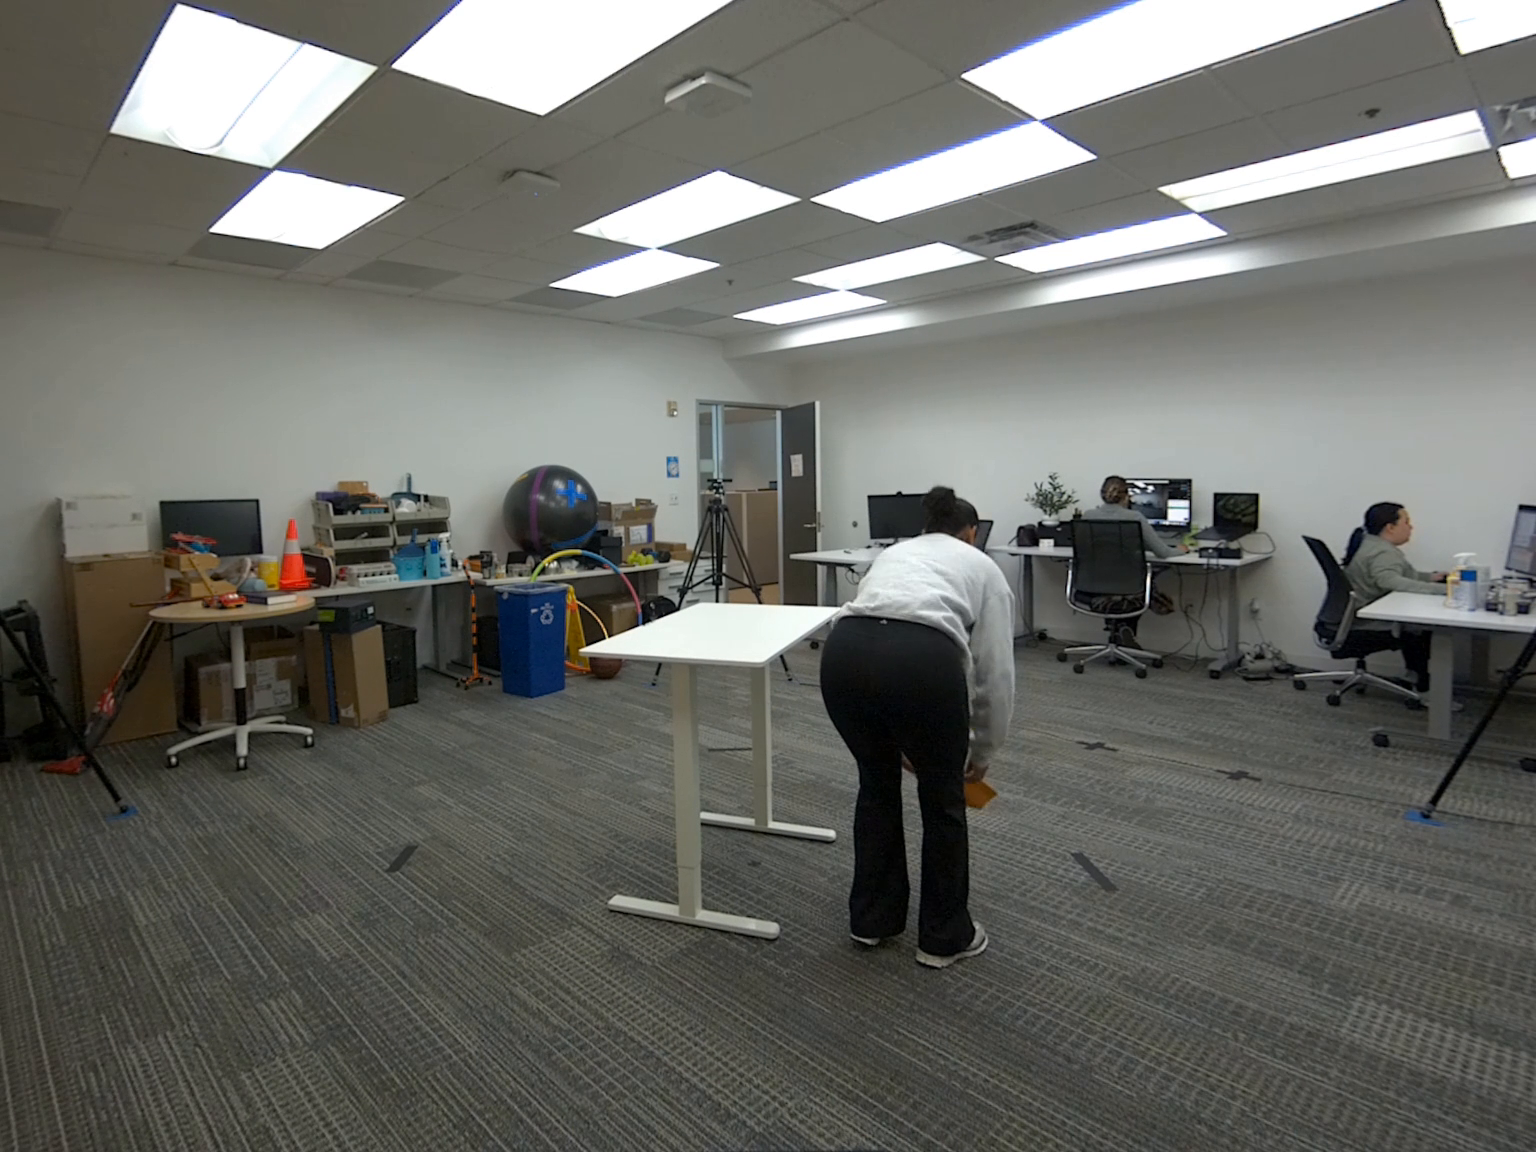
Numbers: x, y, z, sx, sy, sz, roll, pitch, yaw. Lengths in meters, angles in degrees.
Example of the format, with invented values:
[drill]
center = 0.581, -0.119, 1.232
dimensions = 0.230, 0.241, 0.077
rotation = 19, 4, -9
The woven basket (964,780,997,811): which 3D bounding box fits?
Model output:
[woven basket]
center = 0.601, 0.663, 2.807
dimensions = 0.337, 0.074, 0.260
rotation = 34, -19, -37
